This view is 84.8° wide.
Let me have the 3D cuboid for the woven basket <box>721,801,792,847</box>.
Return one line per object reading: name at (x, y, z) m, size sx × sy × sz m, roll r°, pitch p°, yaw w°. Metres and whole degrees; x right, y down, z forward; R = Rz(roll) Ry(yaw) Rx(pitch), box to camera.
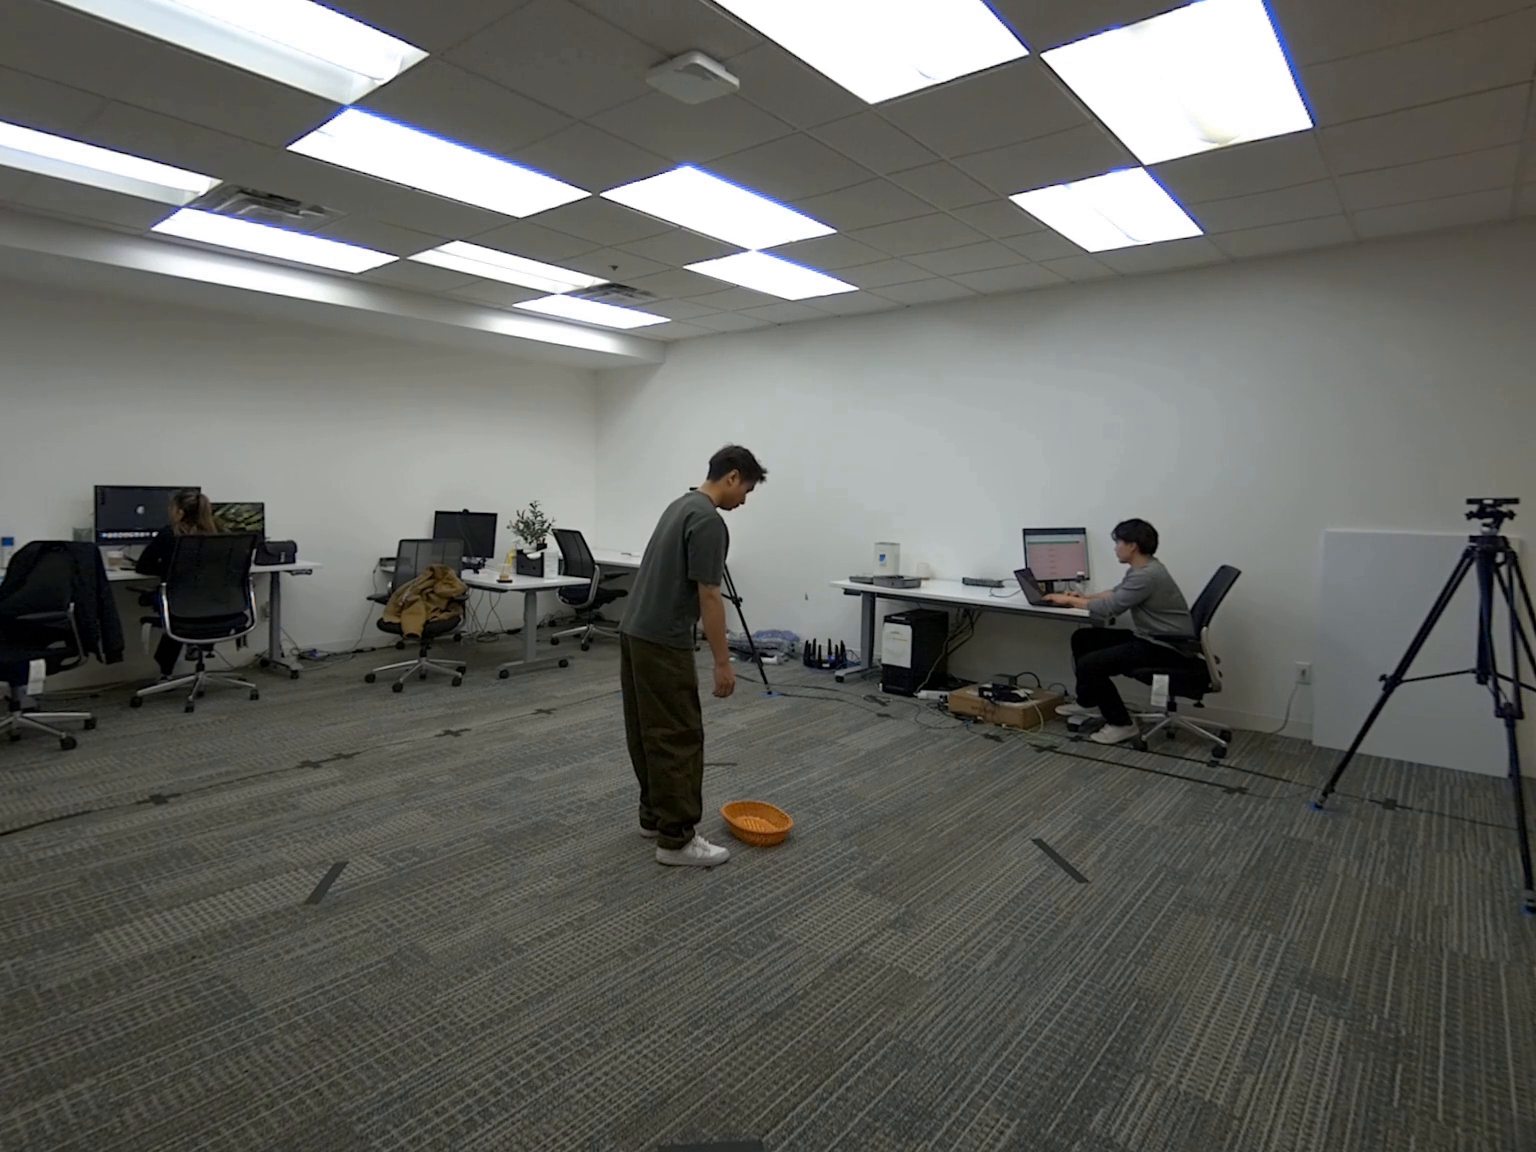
woven basket at (-0.056, 1.000, 3.446) m, size 0.246 × 0.073 × 0.360 m, roll -2°, pitch 6°, yaw -27°
